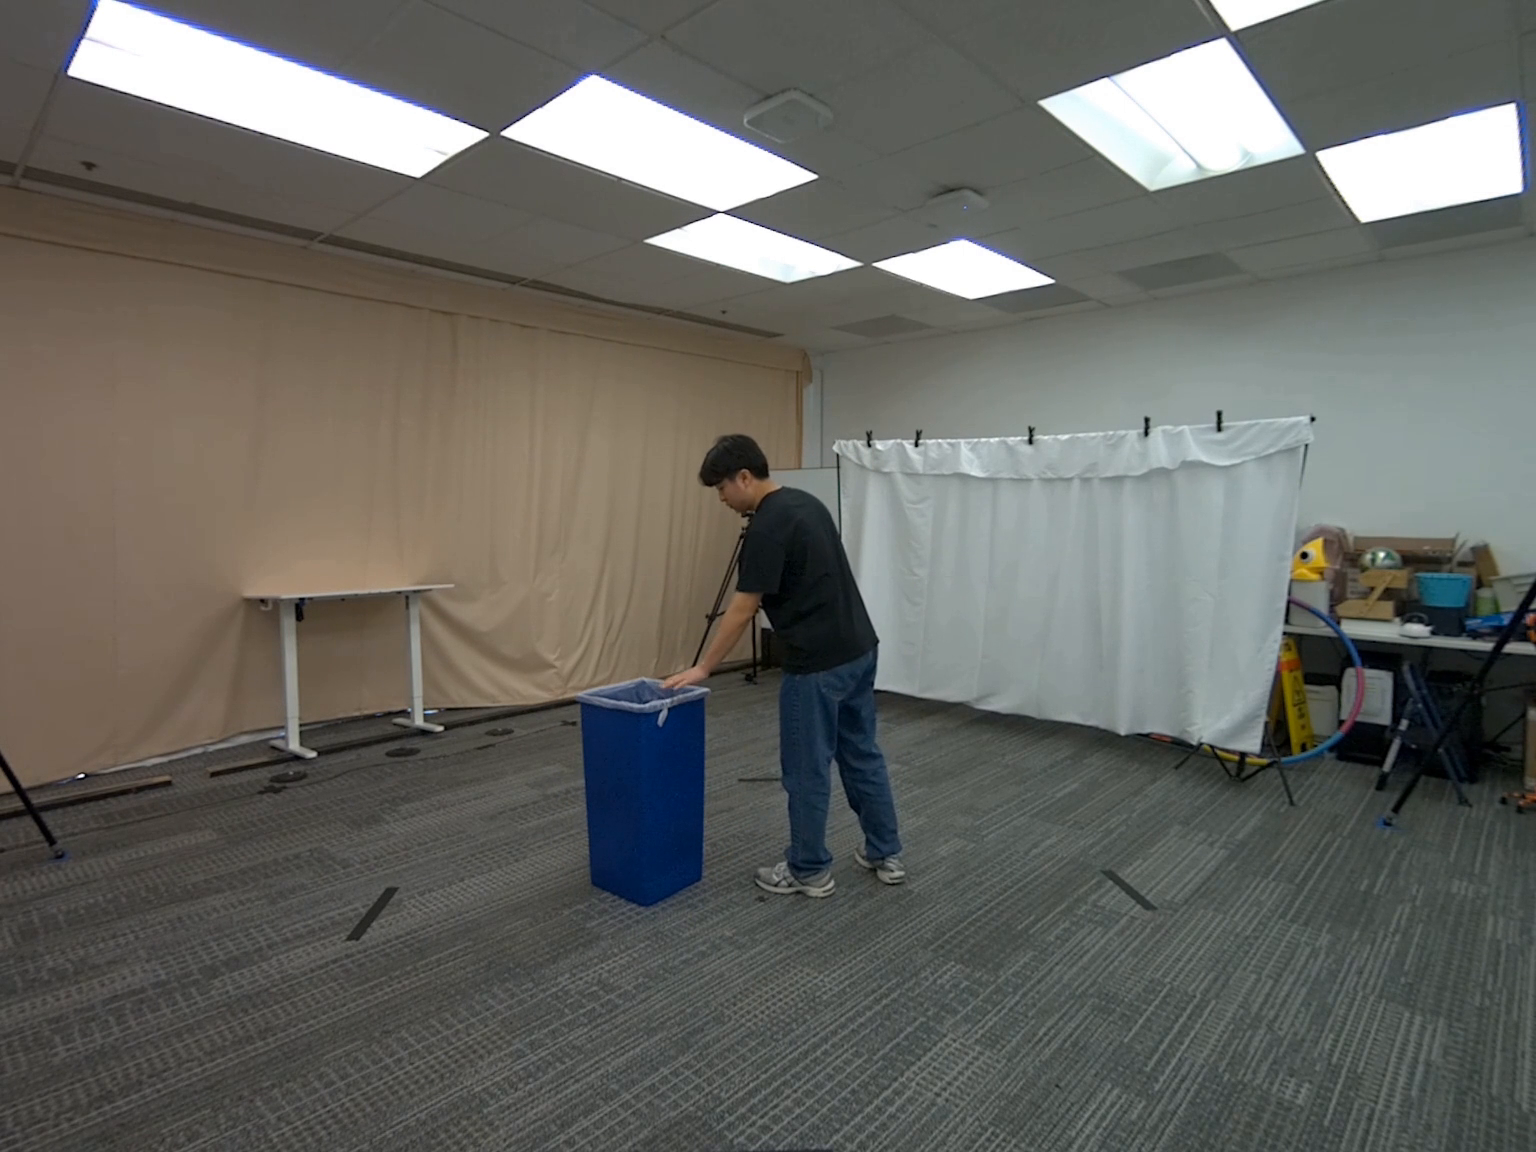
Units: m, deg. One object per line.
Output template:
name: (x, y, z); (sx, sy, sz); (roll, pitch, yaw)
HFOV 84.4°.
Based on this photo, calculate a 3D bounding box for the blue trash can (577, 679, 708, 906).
blue trash can: (-0.462, 0.783, 3.118); (0.386, 0.712, 0.366); (2, 3, 39)
